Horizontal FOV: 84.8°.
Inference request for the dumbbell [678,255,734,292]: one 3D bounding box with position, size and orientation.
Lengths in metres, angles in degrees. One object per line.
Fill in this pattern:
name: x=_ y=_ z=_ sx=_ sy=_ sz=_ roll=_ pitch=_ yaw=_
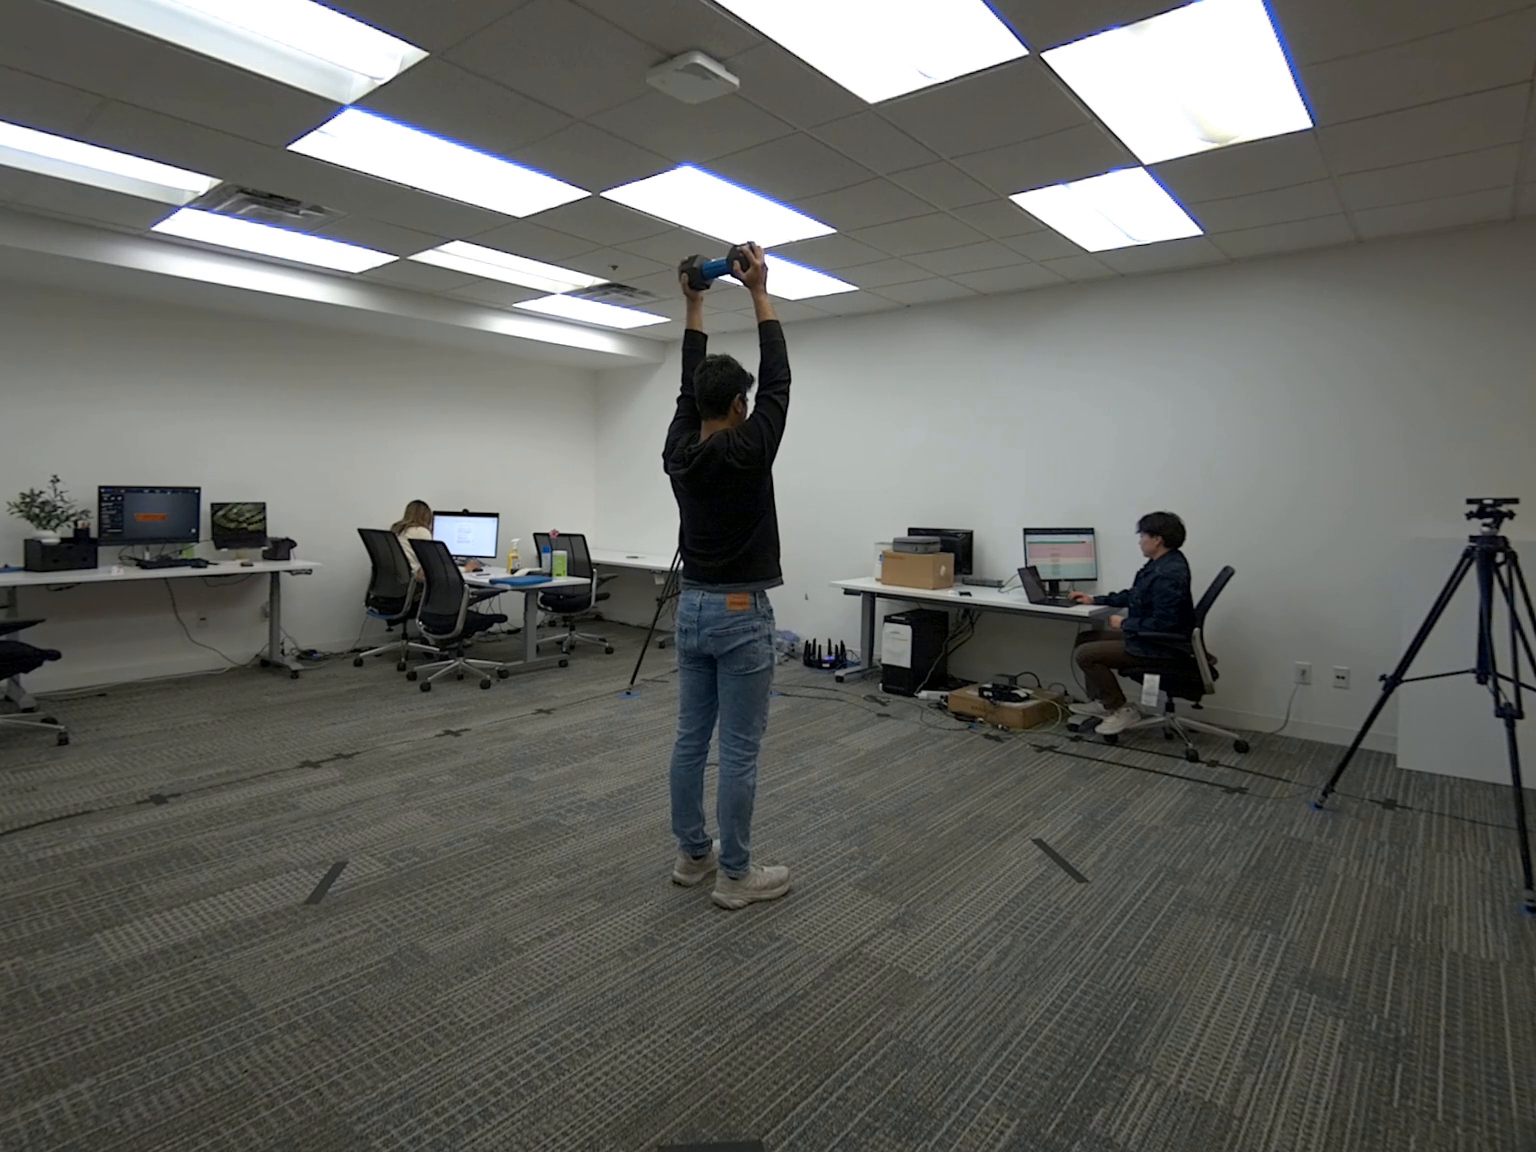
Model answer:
dumbbell: x=-0.166 y=-1.055 z=2.911 sx=0.303 sy=0.109 sz=0.119 roll=4 pitch=2 yaw=43
